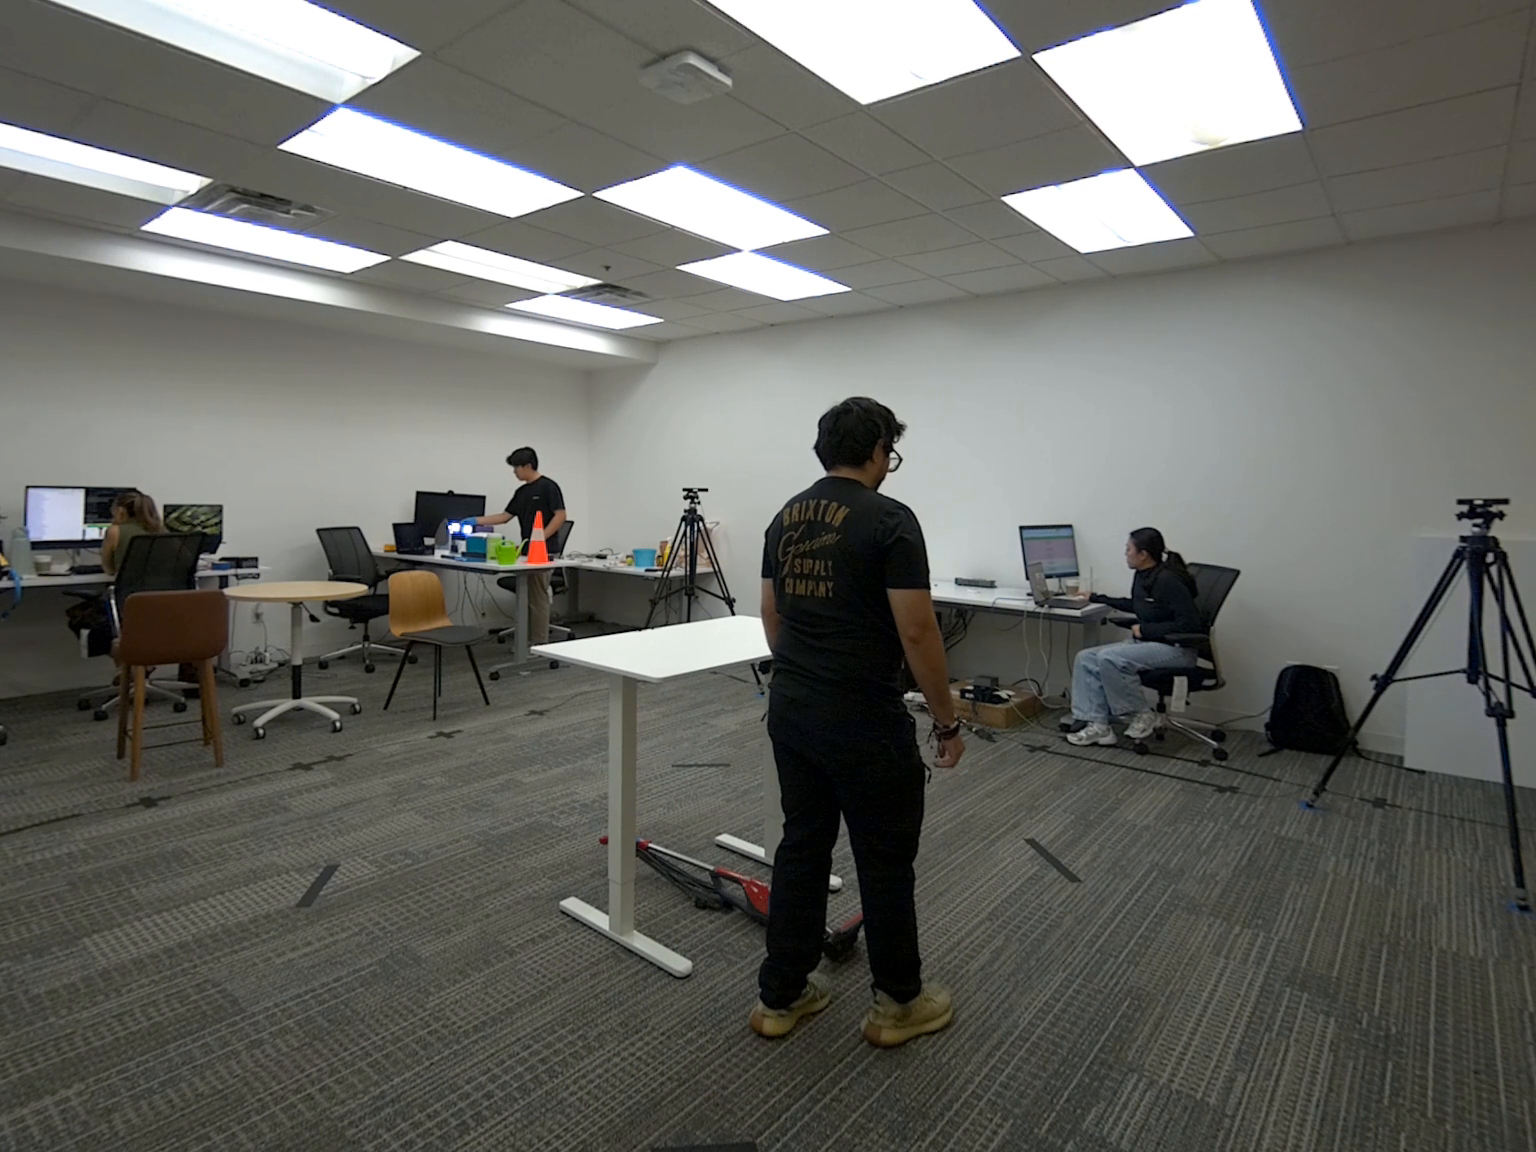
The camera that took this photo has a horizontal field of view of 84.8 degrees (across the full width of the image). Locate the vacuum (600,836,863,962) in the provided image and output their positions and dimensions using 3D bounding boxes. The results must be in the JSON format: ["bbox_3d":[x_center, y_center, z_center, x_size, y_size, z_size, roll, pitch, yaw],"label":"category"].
[{"bbox_3d":[-0.181,1.035,2.856,1.083,0.143,0.246,4,6,35],"label":"vacuum"}]
